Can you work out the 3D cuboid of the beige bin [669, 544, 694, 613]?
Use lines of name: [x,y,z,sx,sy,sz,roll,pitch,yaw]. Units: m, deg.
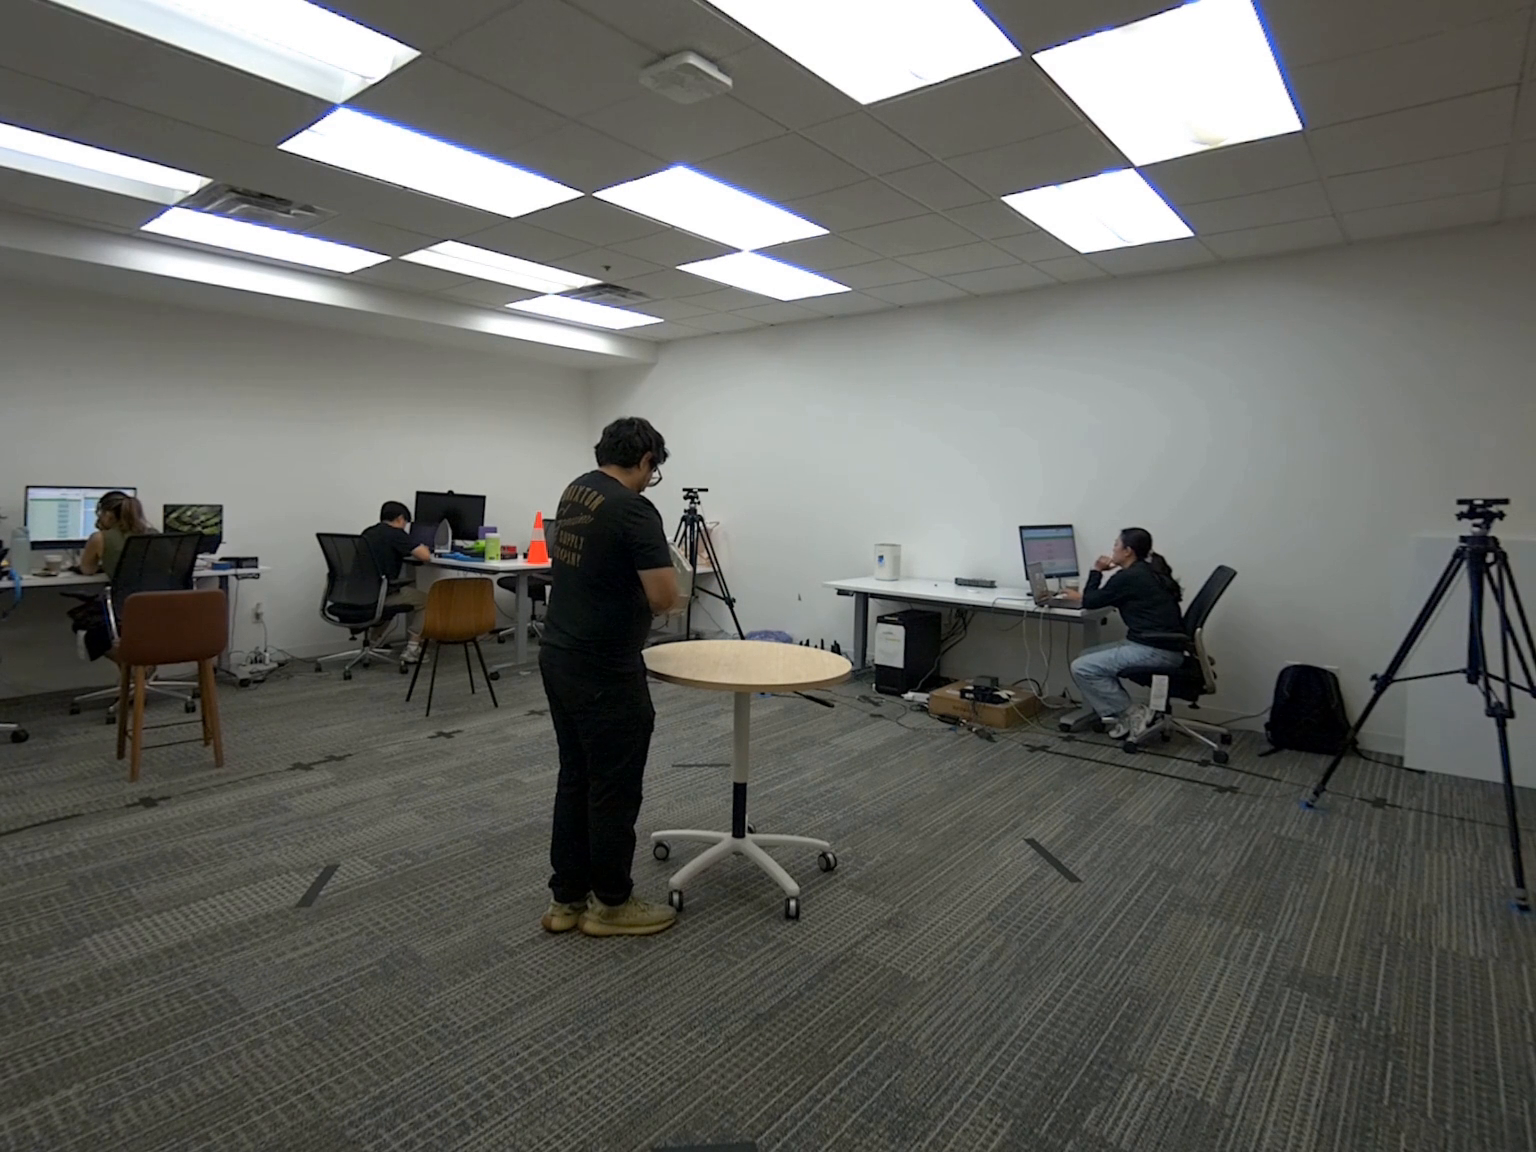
beige bin: [-0.517,0.003,3.007,0.415,0.187,0.388,3,14,-16]
